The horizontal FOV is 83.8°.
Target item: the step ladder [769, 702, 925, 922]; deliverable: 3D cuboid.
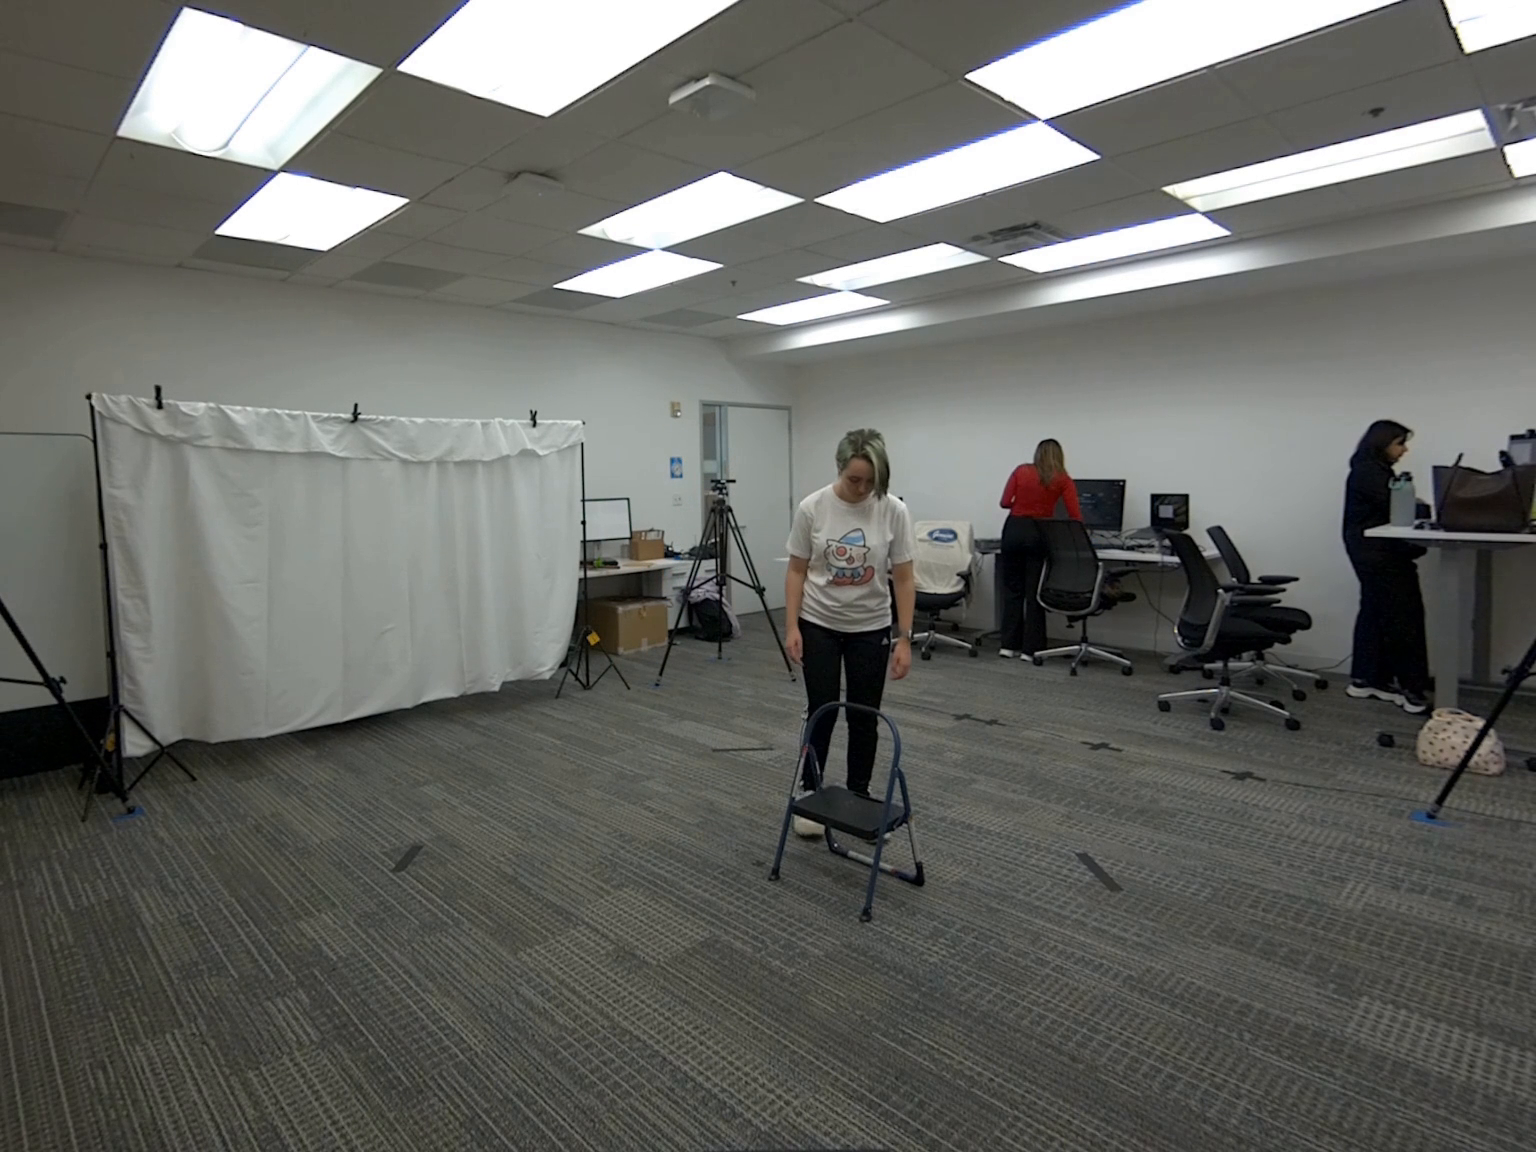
[{"bbox_3d":[0.265,0.759,2.935,0.340,0.604,0.444,-5,6,-44],"label":"step ladder"}]
